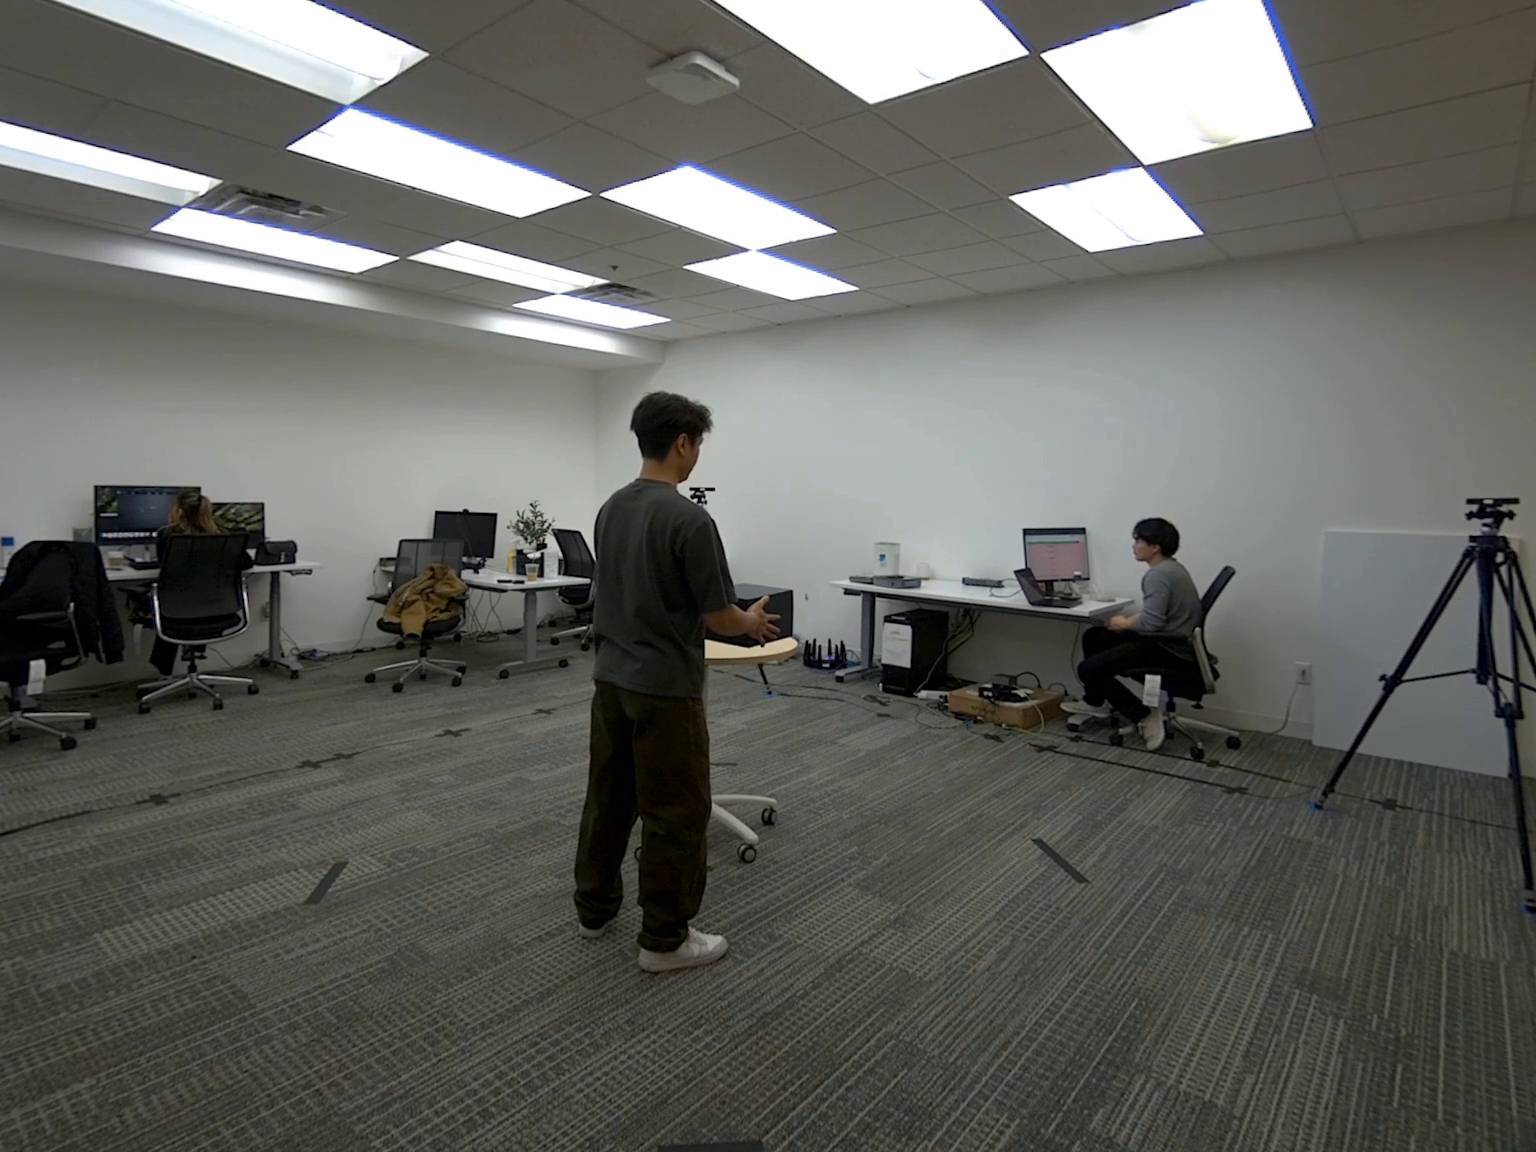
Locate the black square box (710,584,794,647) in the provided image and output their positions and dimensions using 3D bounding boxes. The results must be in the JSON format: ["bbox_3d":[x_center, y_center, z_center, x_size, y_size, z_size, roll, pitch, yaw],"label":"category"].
[{"bbox_3d":[-0.076,0.120,2.781,0.224,0.155,0.222,6,10,42],"label":"black square box"}]
